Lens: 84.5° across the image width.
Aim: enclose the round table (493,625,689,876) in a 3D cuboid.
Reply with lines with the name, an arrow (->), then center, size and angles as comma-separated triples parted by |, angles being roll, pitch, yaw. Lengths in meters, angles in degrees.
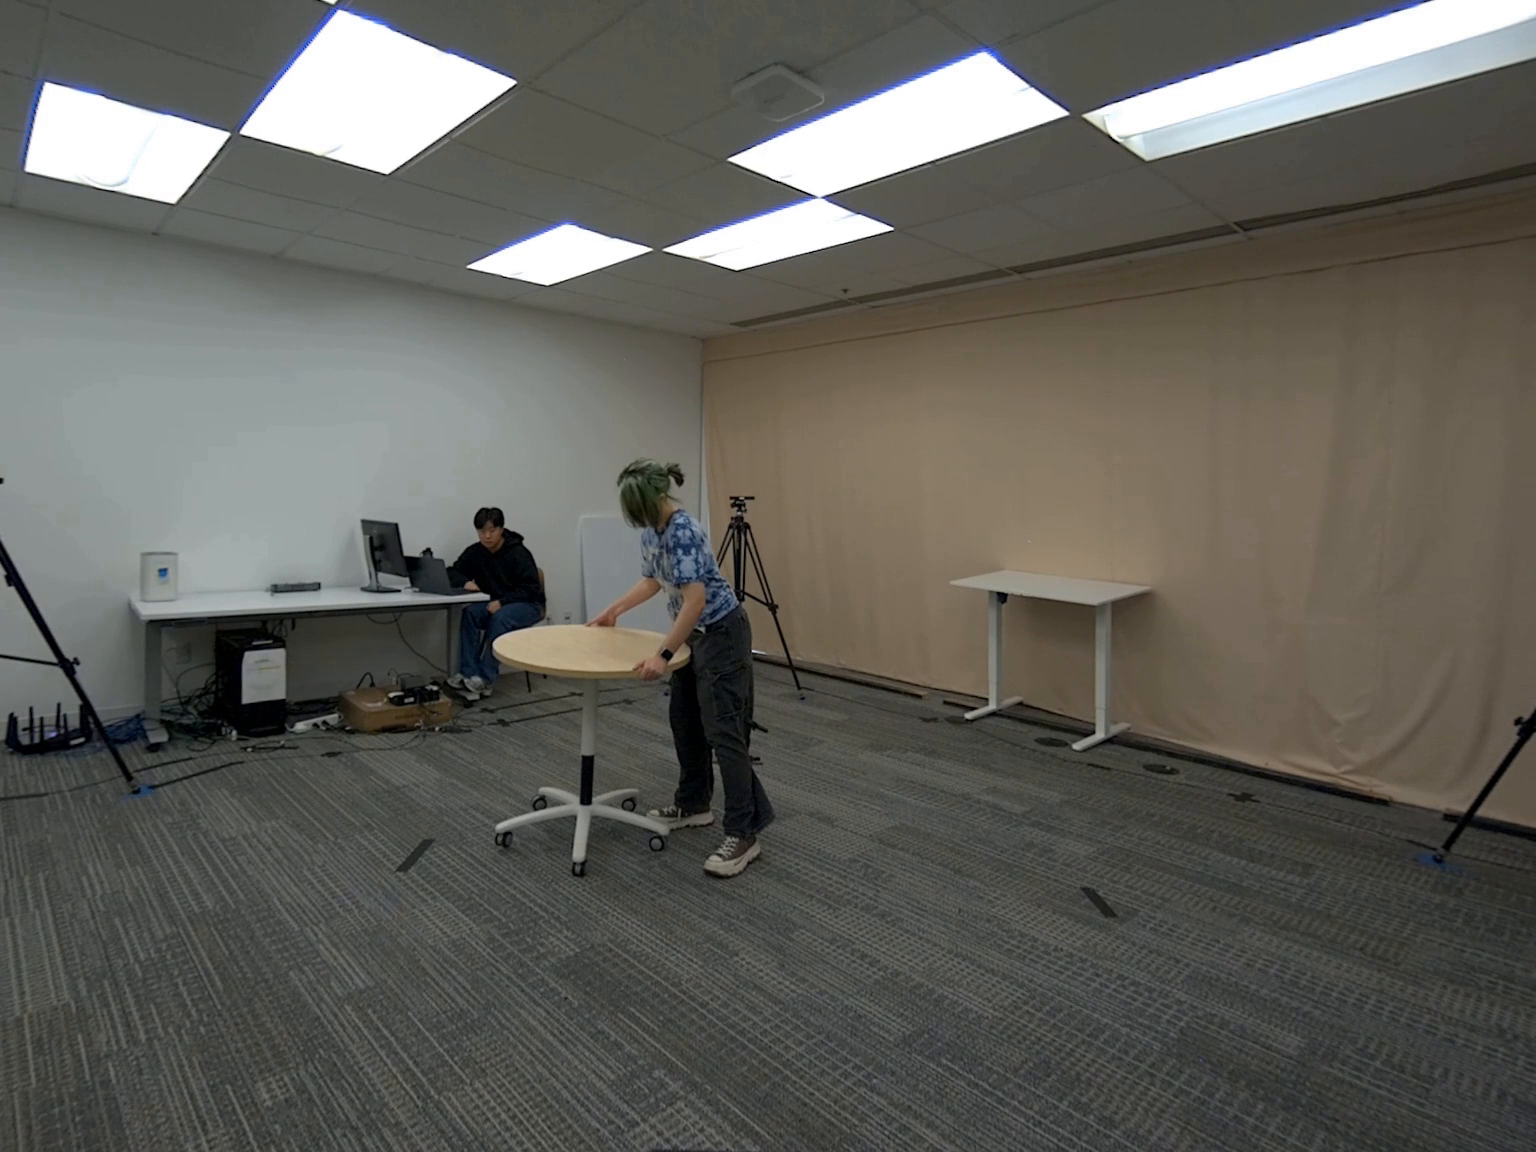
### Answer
round table -> -0.724, 0.665, 3.341 | 0.763, 0.790, 0.768 | 3, 7, -2
